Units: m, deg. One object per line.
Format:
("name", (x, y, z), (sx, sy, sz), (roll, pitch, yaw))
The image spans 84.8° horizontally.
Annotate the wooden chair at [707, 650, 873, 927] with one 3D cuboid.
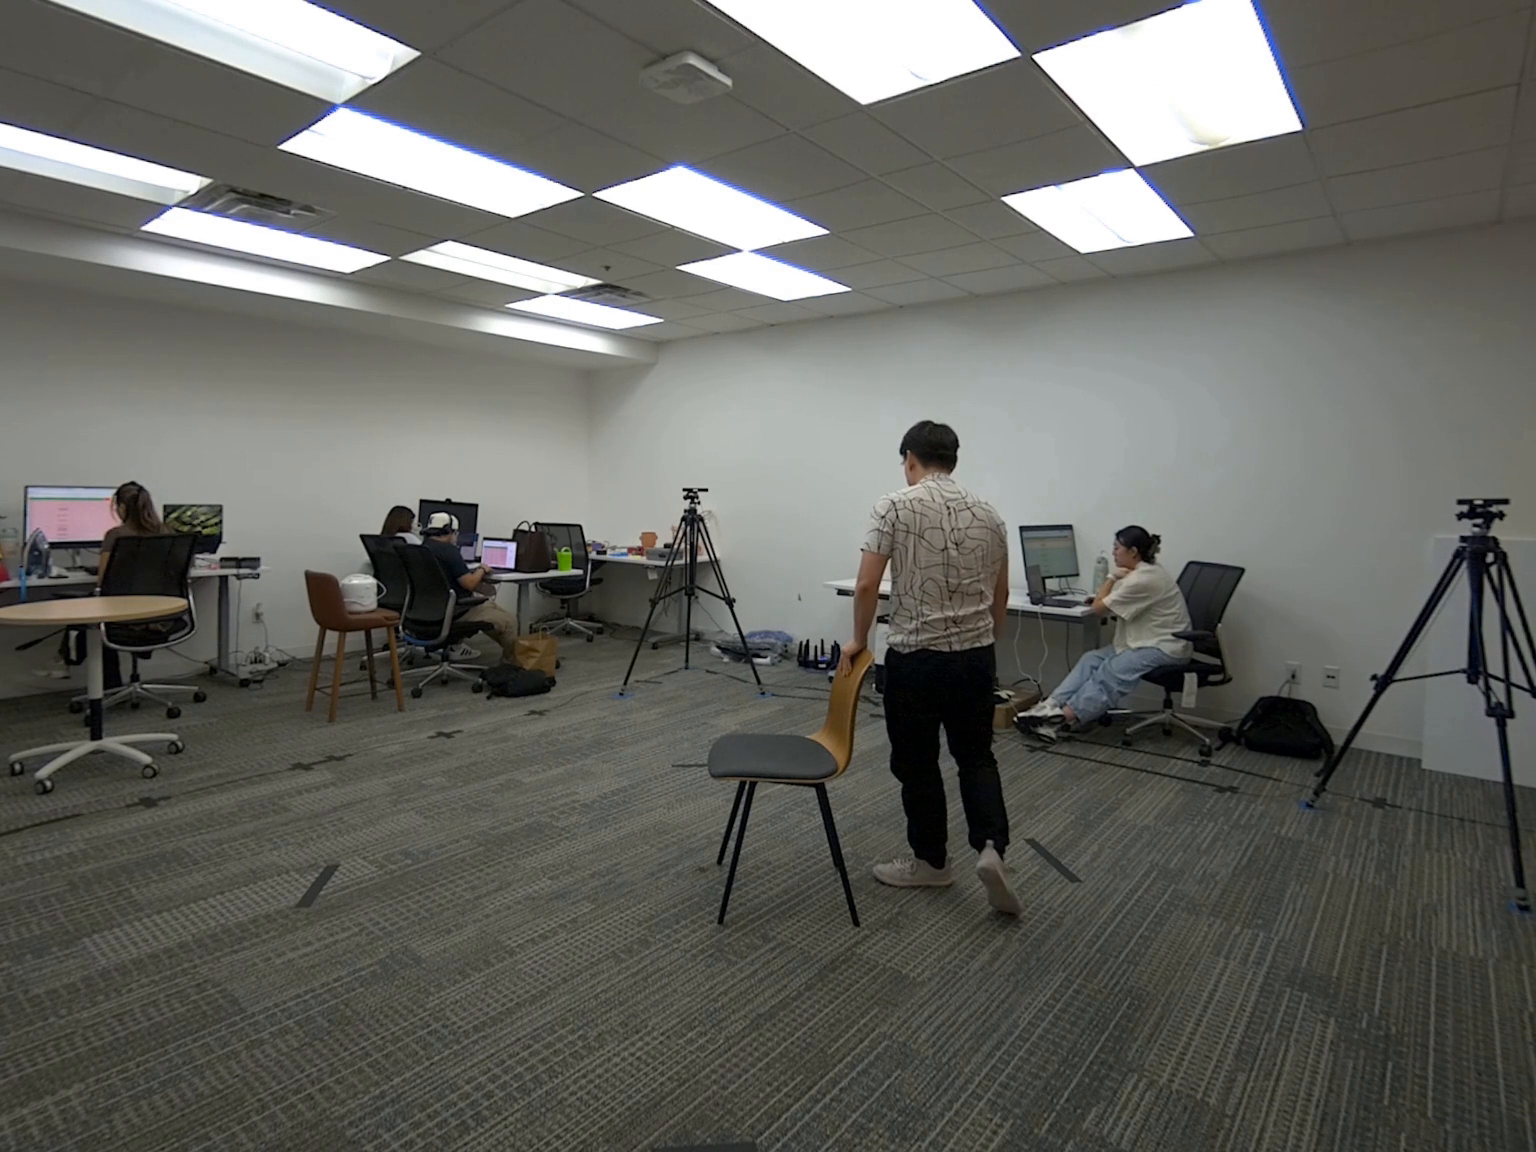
("wooden chair", (0.046, 0.666, 2.909), (0.522, 0.875, 0.481), (6, 4, -3))
